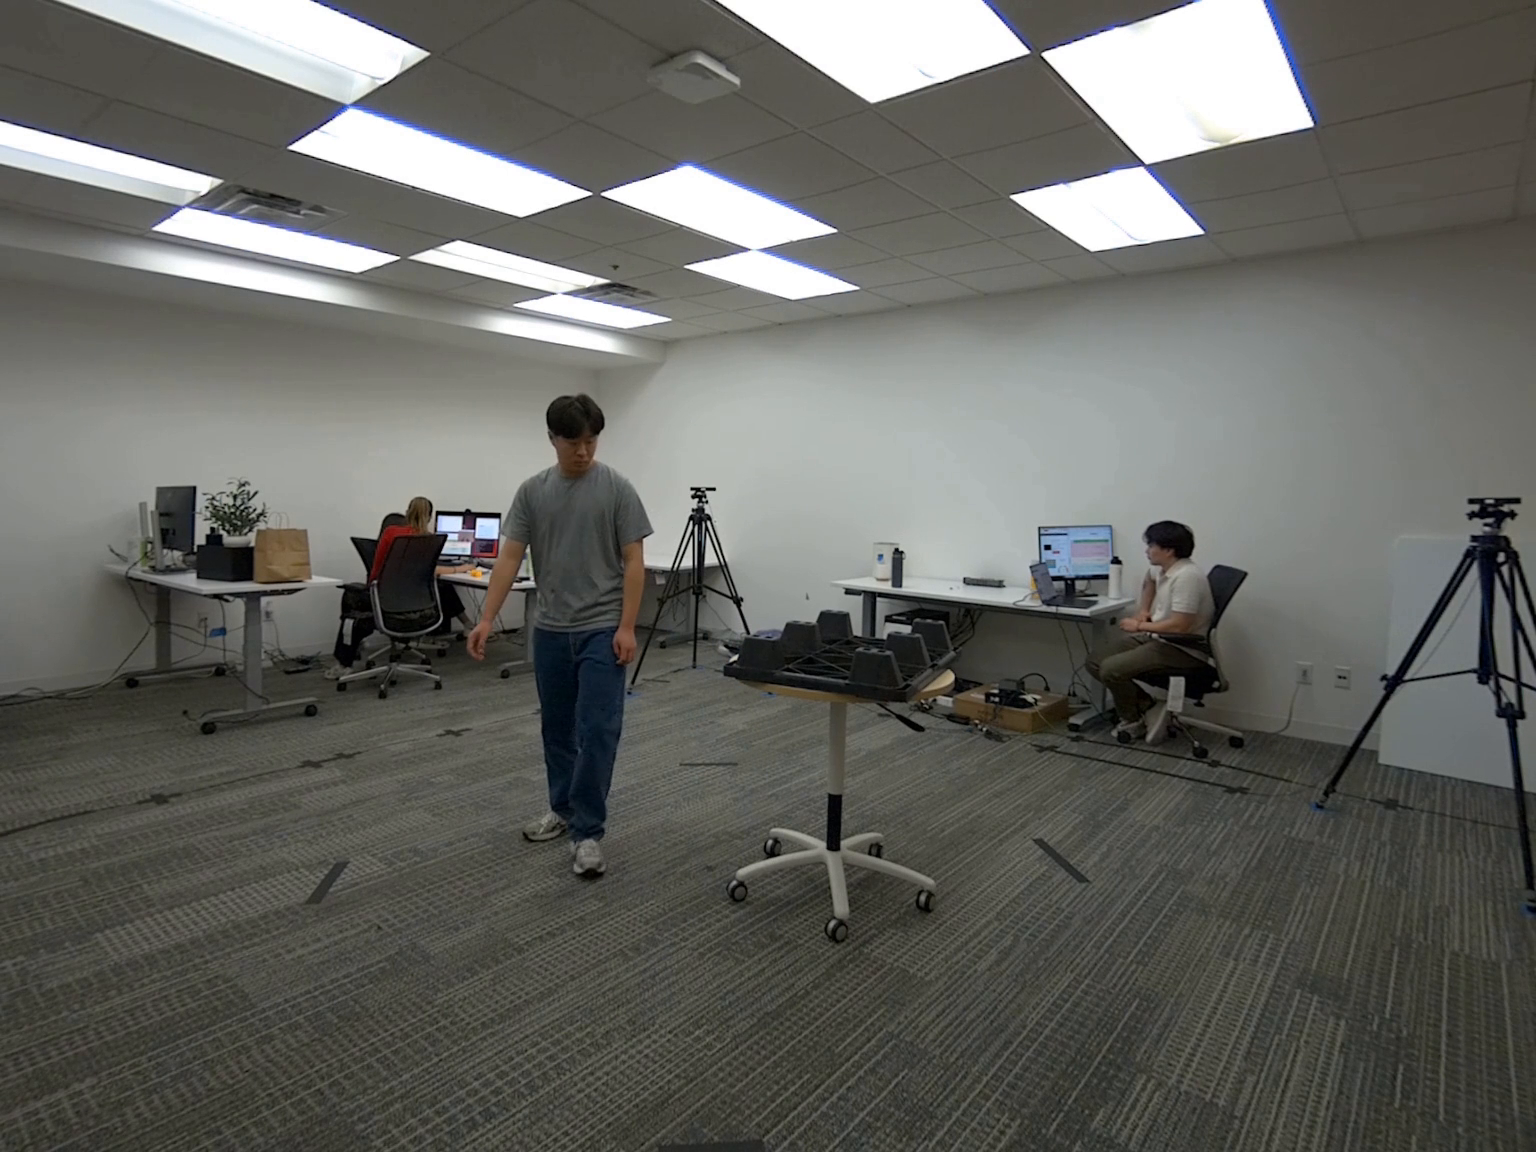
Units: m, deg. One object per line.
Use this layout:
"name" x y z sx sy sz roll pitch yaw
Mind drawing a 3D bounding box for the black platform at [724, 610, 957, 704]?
"black platform" 0.279 0.247 2.946 0.622 0.142 0.788 5 7 25
